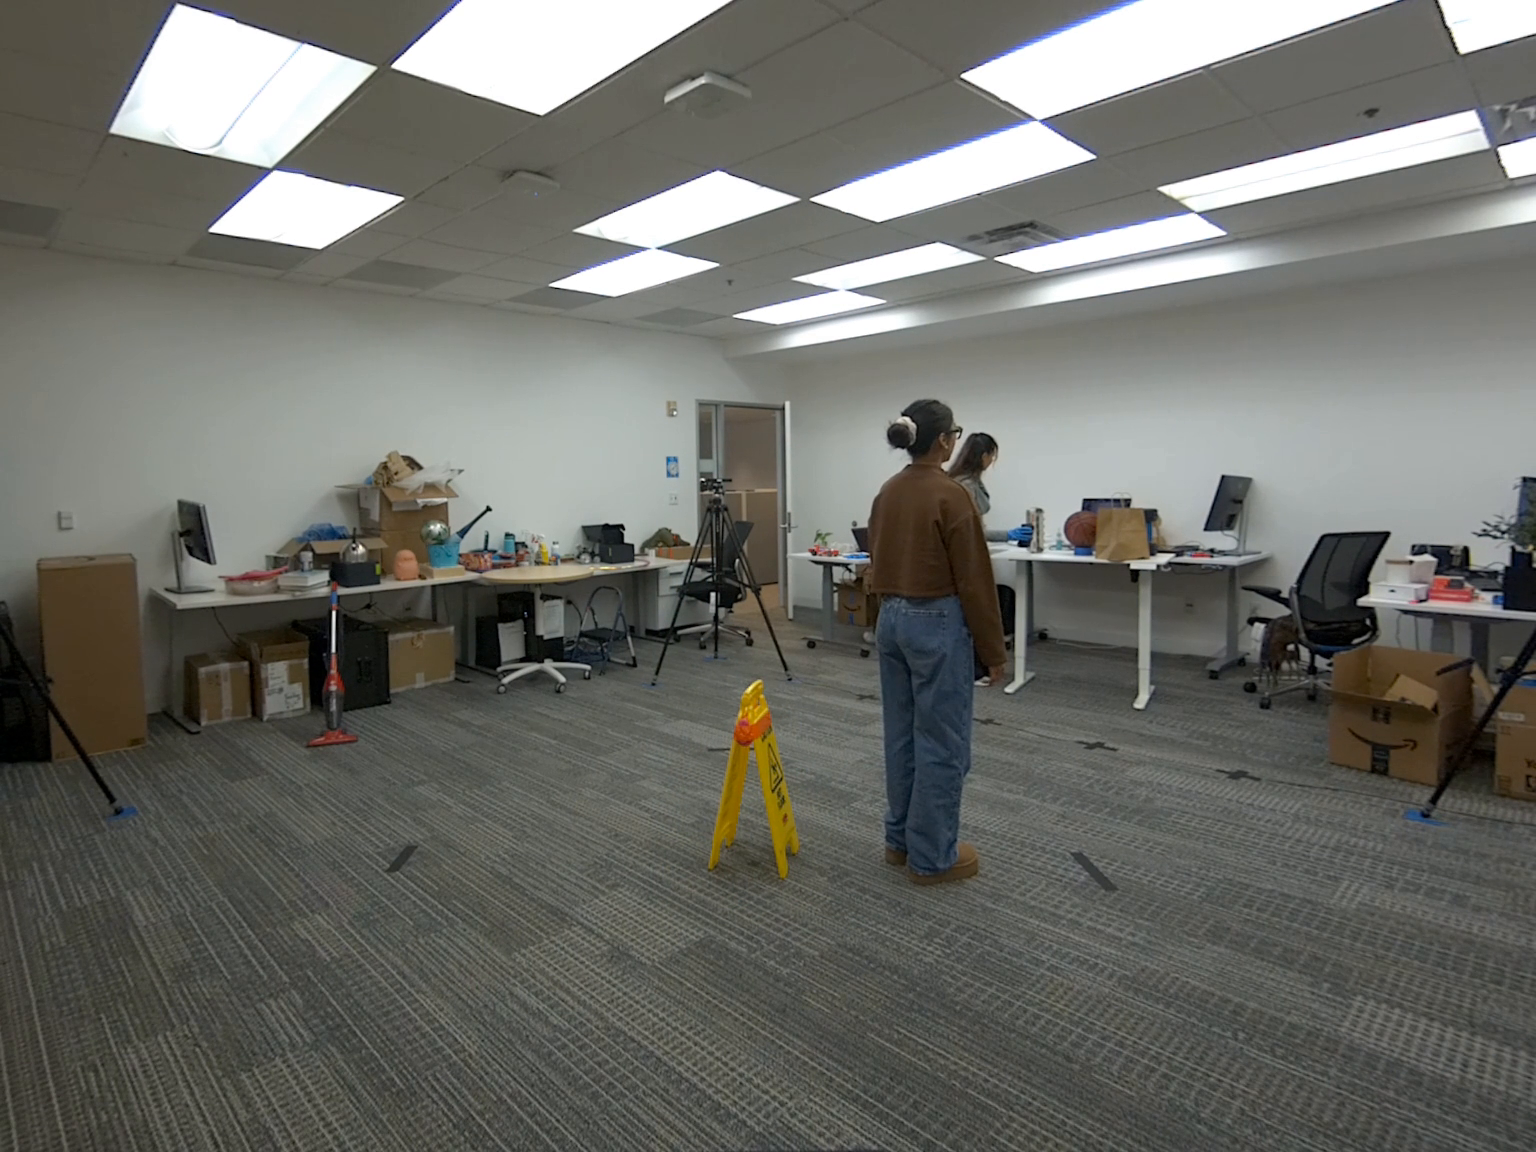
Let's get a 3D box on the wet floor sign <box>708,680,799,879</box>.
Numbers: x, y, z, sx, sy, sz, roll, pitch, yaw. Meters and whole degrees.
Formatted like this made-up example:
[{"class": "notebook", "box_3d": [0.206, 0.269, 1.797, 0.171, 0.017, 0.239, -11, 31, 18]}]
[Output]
[{"class": "wet floor sign", "box_3d": [-0.050, 0.716, 3.128, 0.294, 0.645, 0.278, -1, 2, 17]}]
